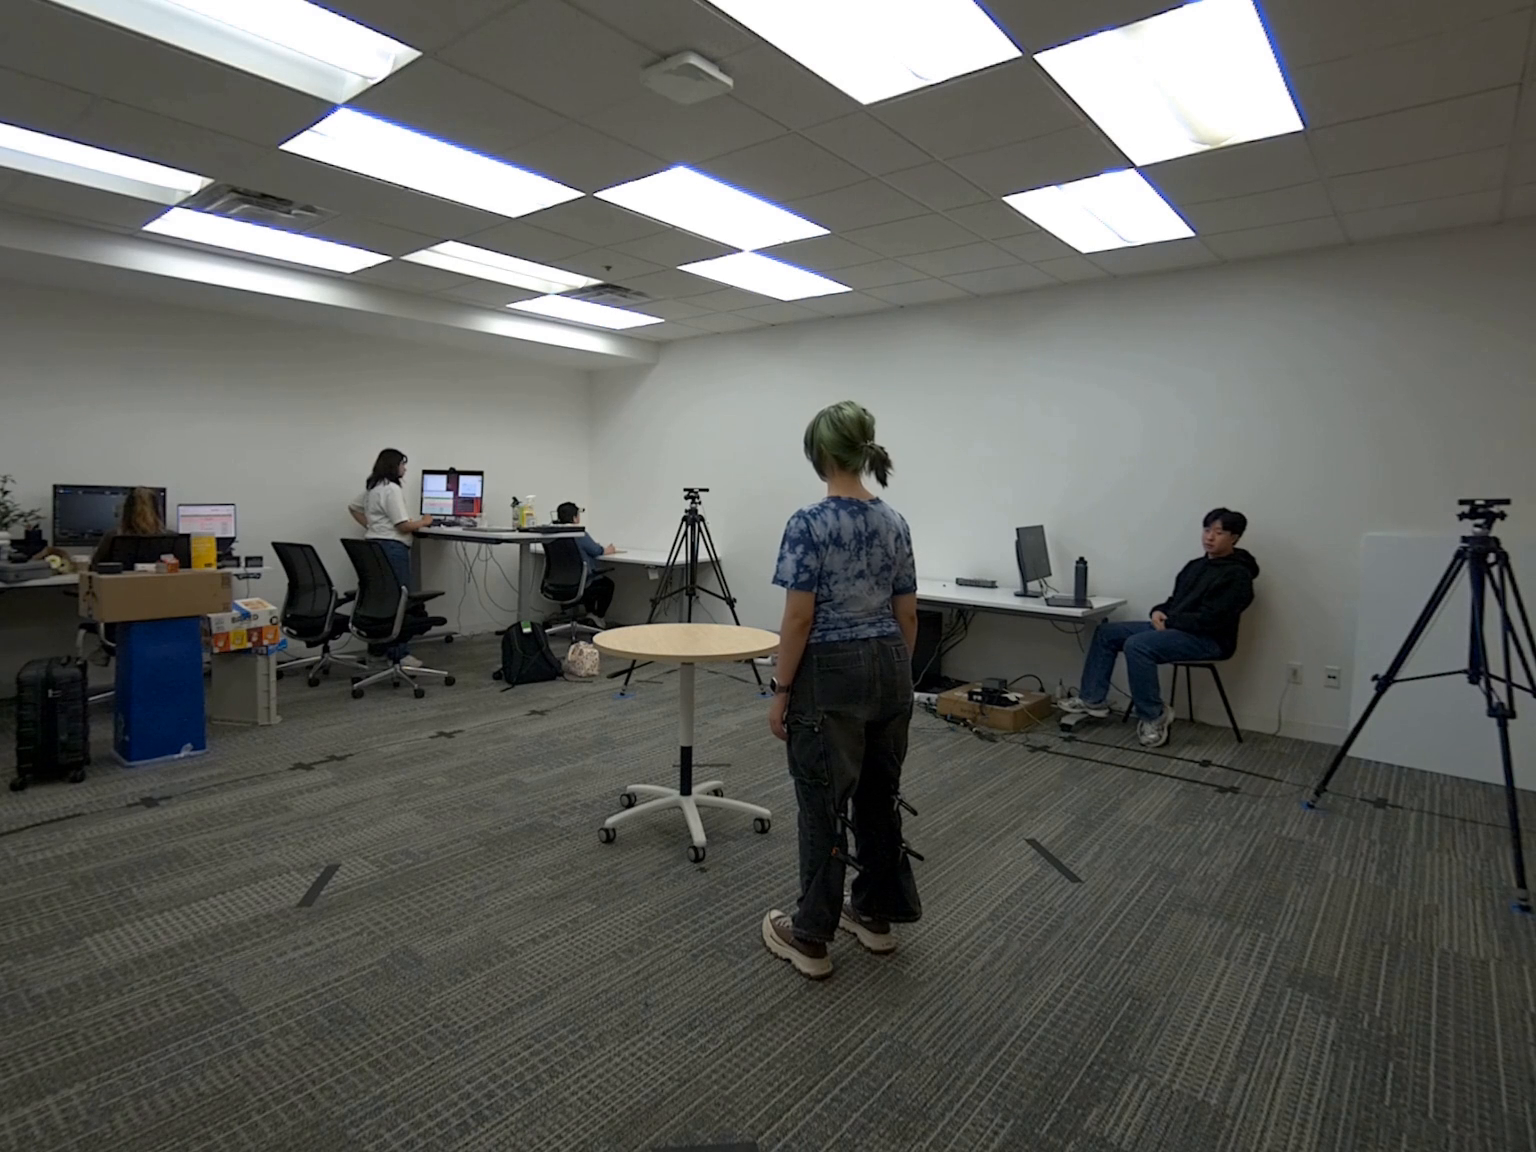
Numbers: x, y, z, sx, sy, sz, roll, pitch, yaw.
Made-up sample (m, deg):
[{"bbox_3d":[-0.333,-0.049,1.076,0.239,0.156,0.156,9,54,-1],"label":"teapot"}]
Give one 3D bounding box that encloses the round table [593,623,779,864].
[{"bbox_3d":[-0.355,0.643,3.471,0.763,0.792,0.767,1,4,-2],"label":"round table"}]
